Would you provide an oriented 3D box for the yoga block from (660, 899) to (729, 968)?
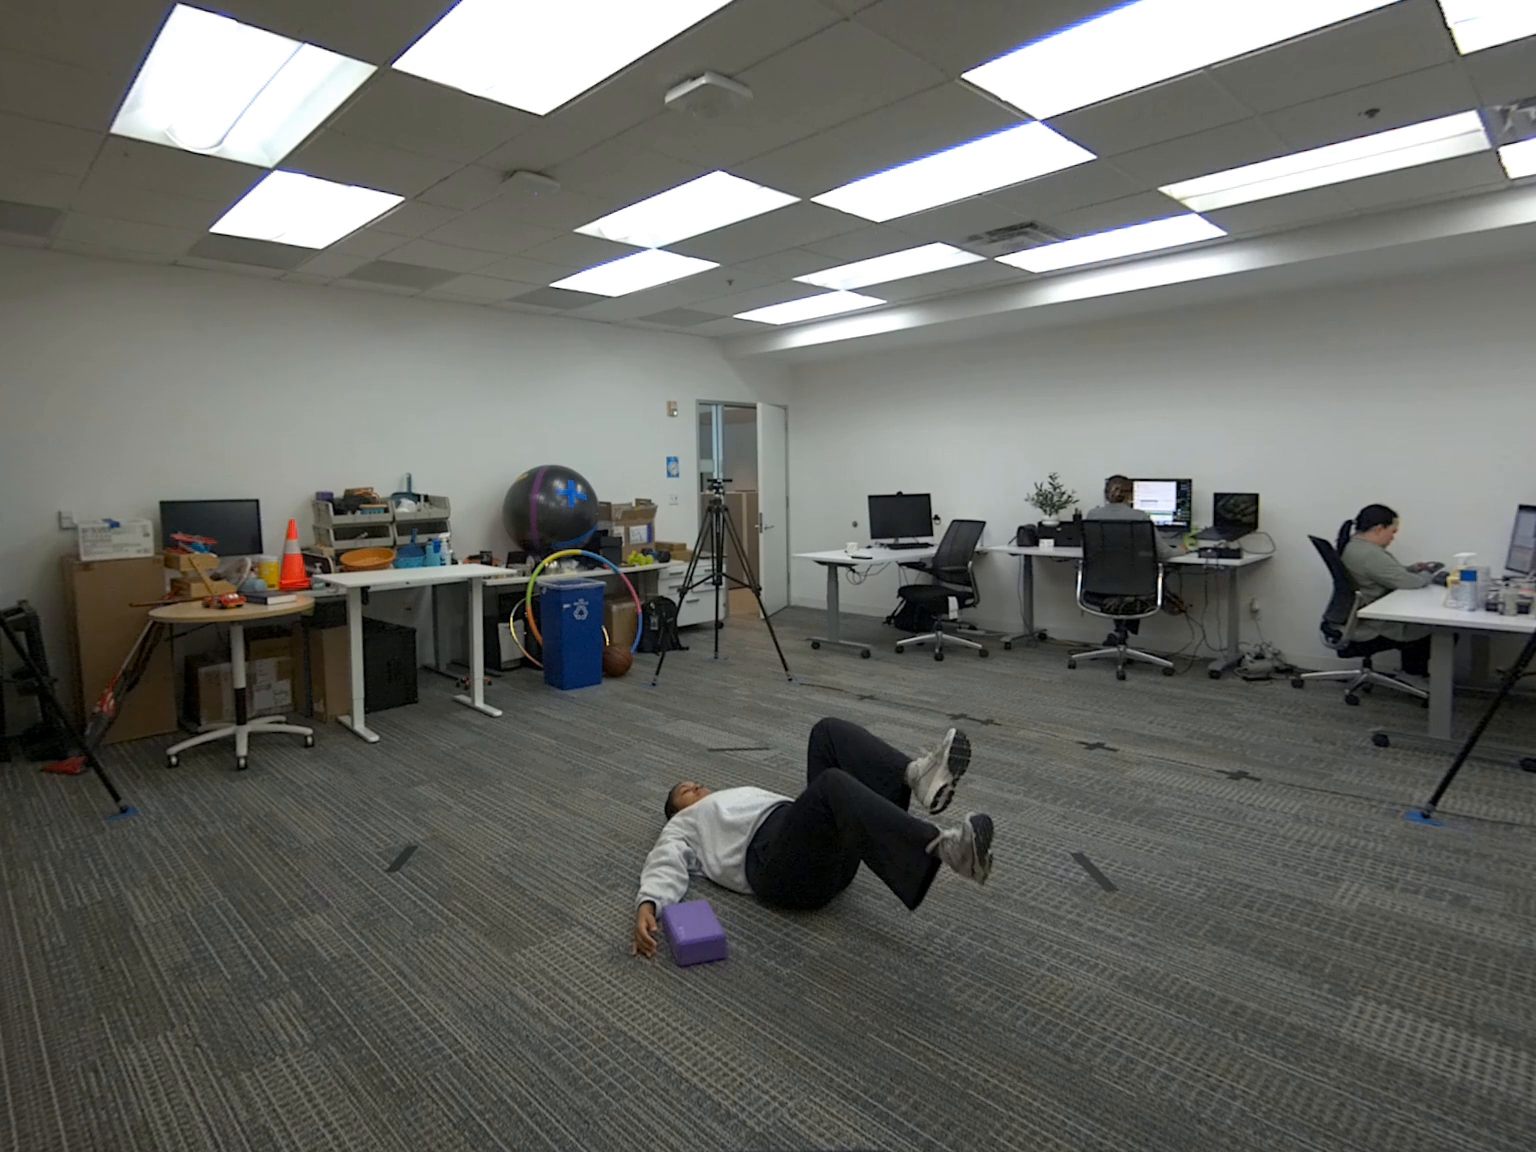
[{"bbox_3d":[-0.220,1.071,2.572,0.146,0.076,0.234,-2,7,-18],"label":"yoga block"}]
